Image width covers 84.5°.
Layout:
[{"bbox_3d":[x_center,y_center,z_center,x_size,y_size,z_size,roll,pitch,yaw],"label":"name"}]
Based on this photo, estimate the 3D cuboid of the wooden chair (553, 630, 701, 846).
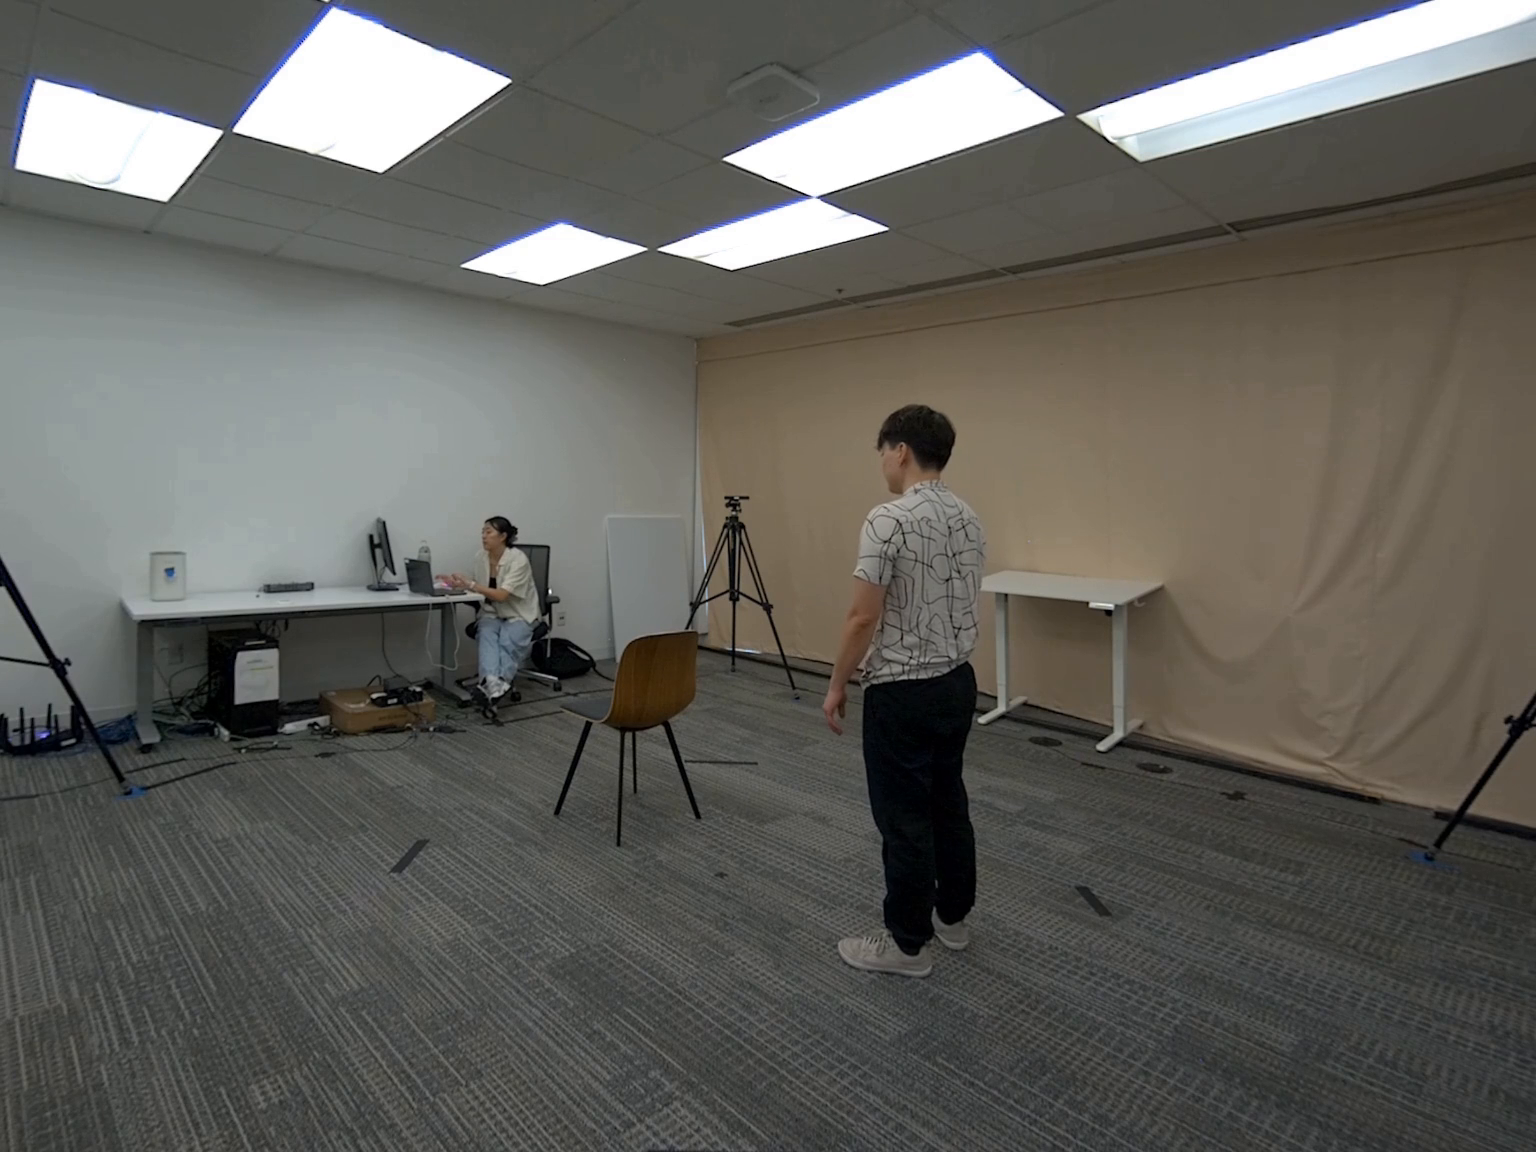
[{"bbox_3d":[-0.608,0.618,3.620,0.537,0.873,0.467,11,9,43],"label":"wooden chair"}]
